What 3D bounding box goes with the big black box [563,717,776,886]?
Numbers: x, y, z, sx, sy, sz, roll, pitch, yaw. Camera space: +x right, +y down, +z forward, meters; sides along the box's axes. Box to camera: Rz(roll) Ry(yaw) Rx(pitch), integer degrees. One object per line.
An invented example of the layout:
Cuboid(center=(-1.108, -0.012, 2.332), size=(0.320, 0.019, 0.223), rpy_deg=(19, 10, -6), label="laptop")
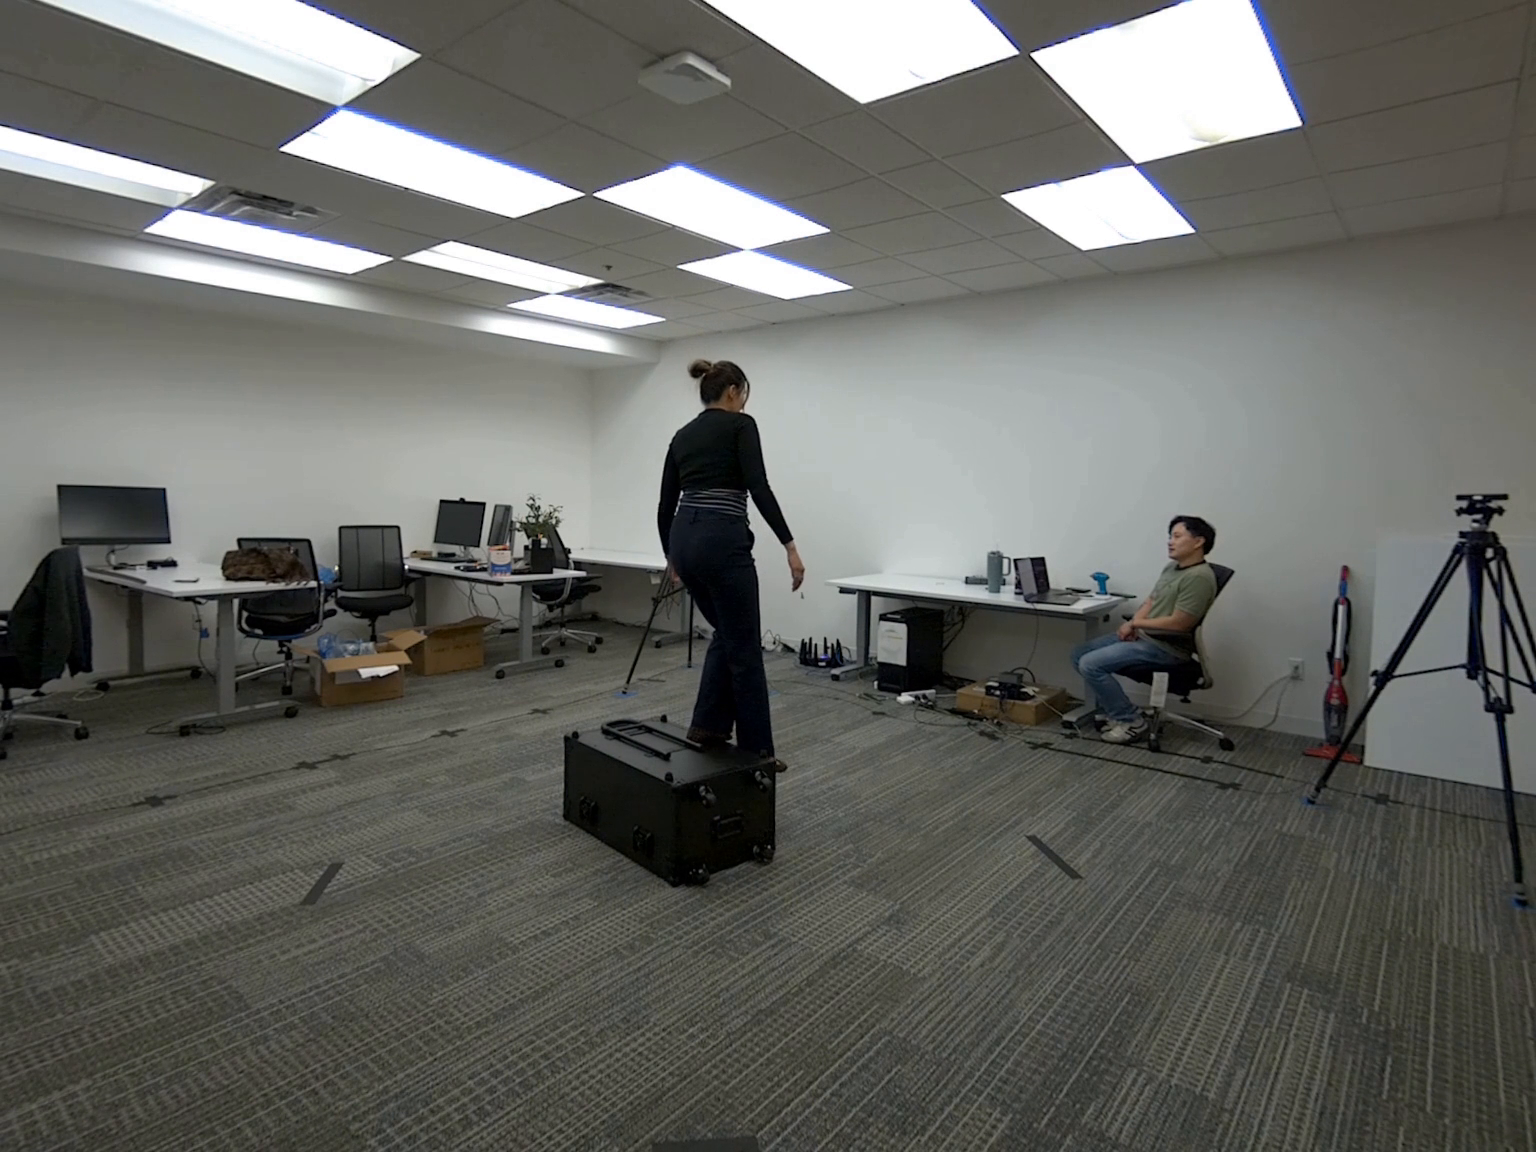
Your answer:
Cuboid(center=(-0.441, 0.858, 3.411), size=(0.505, 0.395, 0.891), rpy_deg=(-3, 6, -41), label="big black box")
